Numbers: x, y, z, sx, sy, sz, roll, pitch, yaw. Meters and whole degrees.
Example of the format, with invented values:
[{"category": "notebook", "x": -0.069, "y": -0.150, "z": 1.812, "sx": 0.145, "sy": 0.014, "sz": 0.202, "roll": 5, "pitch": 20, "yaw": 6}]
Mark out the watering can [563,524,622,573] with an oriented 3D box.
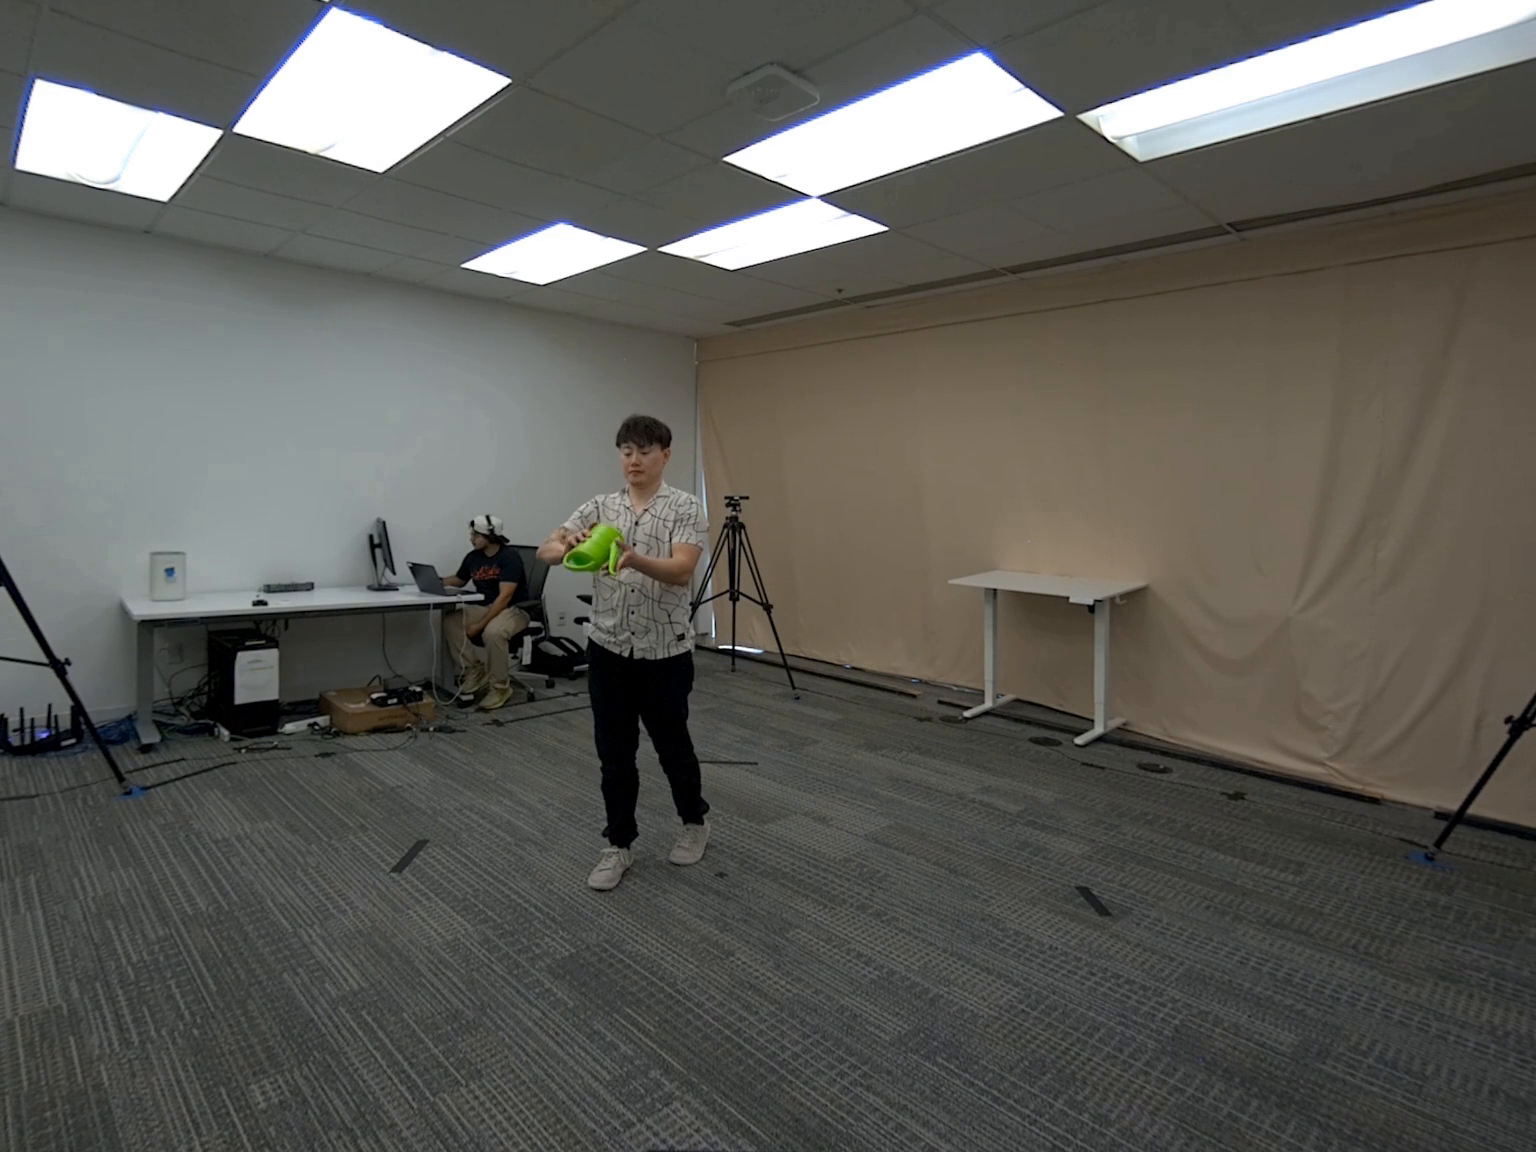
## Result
[{"category": "watering can", "x": -0.534, "y": -0.060, "z": 2.642, "sx": 0.286, "sy": 0.095, "sz": 0.177, "roll": 20, "pitch": 51, "yaw": 32}]
